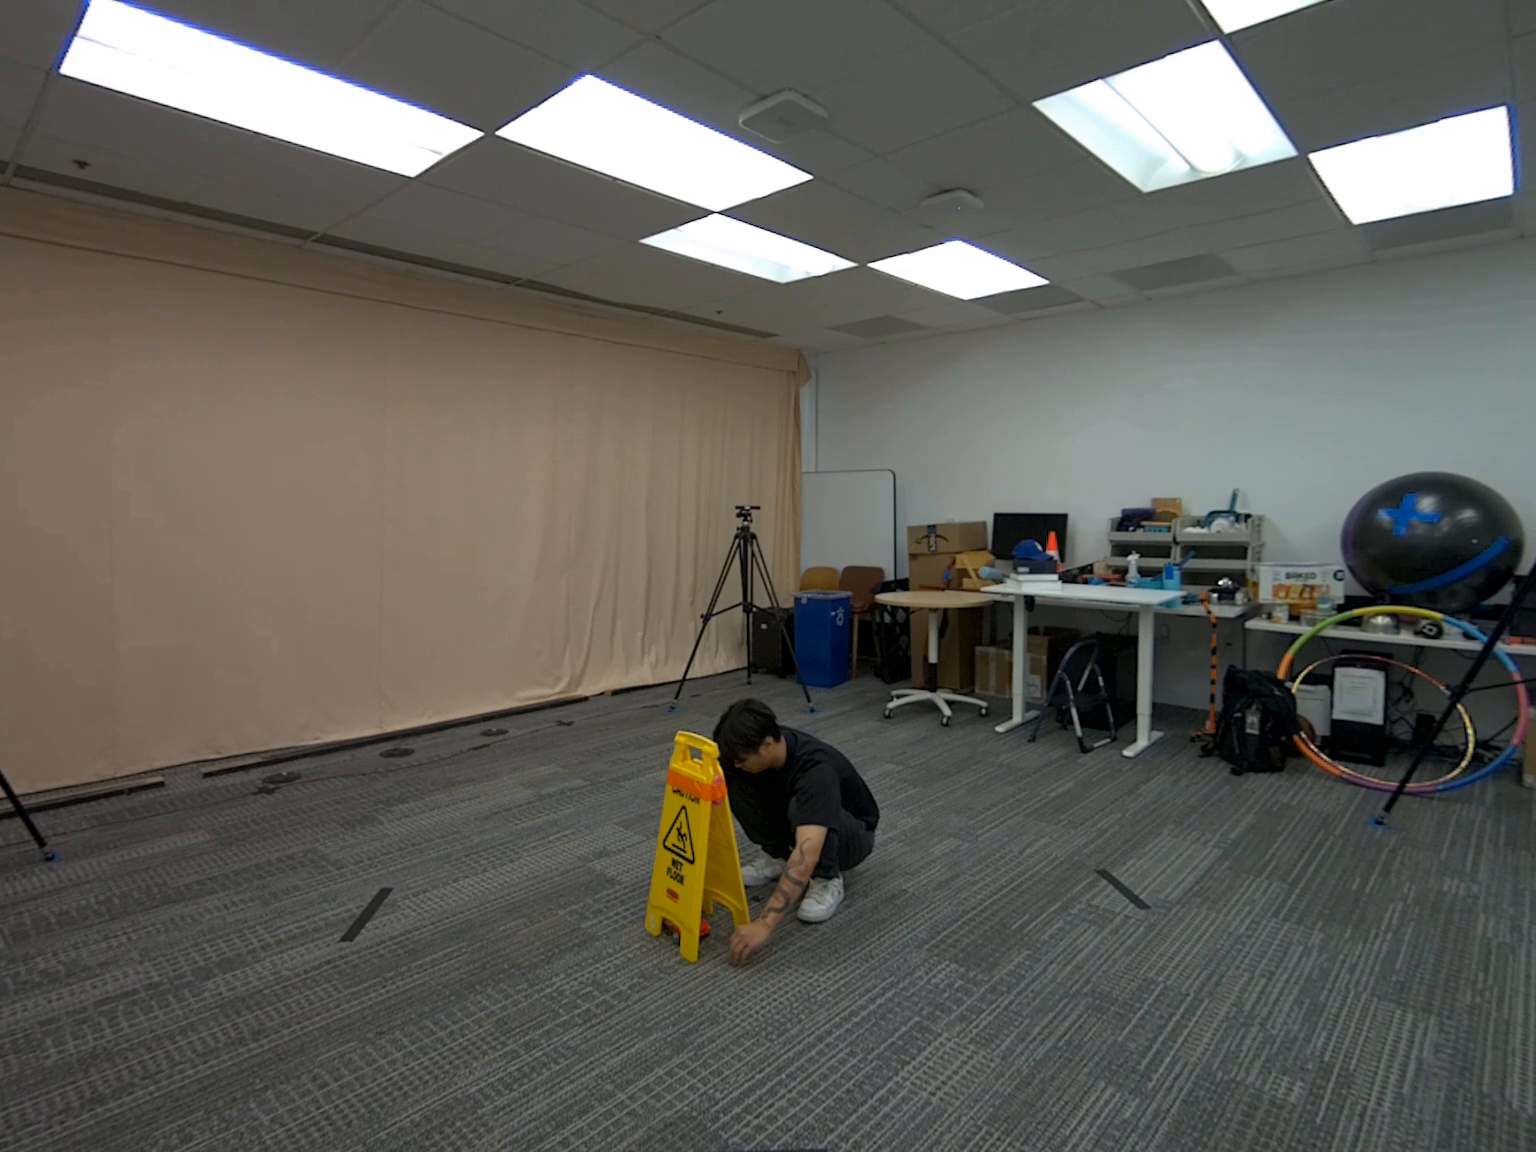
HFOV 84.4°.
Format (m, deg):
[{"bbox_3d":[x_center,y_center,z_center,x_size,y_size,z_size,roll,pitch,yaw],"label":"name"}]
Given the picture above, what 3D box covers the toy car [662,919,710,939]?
[{"bbox_3d":[-0.253,1.145,2.800,0.127,0.083,0.262,2,13,-27],"label":"toy car"}]
